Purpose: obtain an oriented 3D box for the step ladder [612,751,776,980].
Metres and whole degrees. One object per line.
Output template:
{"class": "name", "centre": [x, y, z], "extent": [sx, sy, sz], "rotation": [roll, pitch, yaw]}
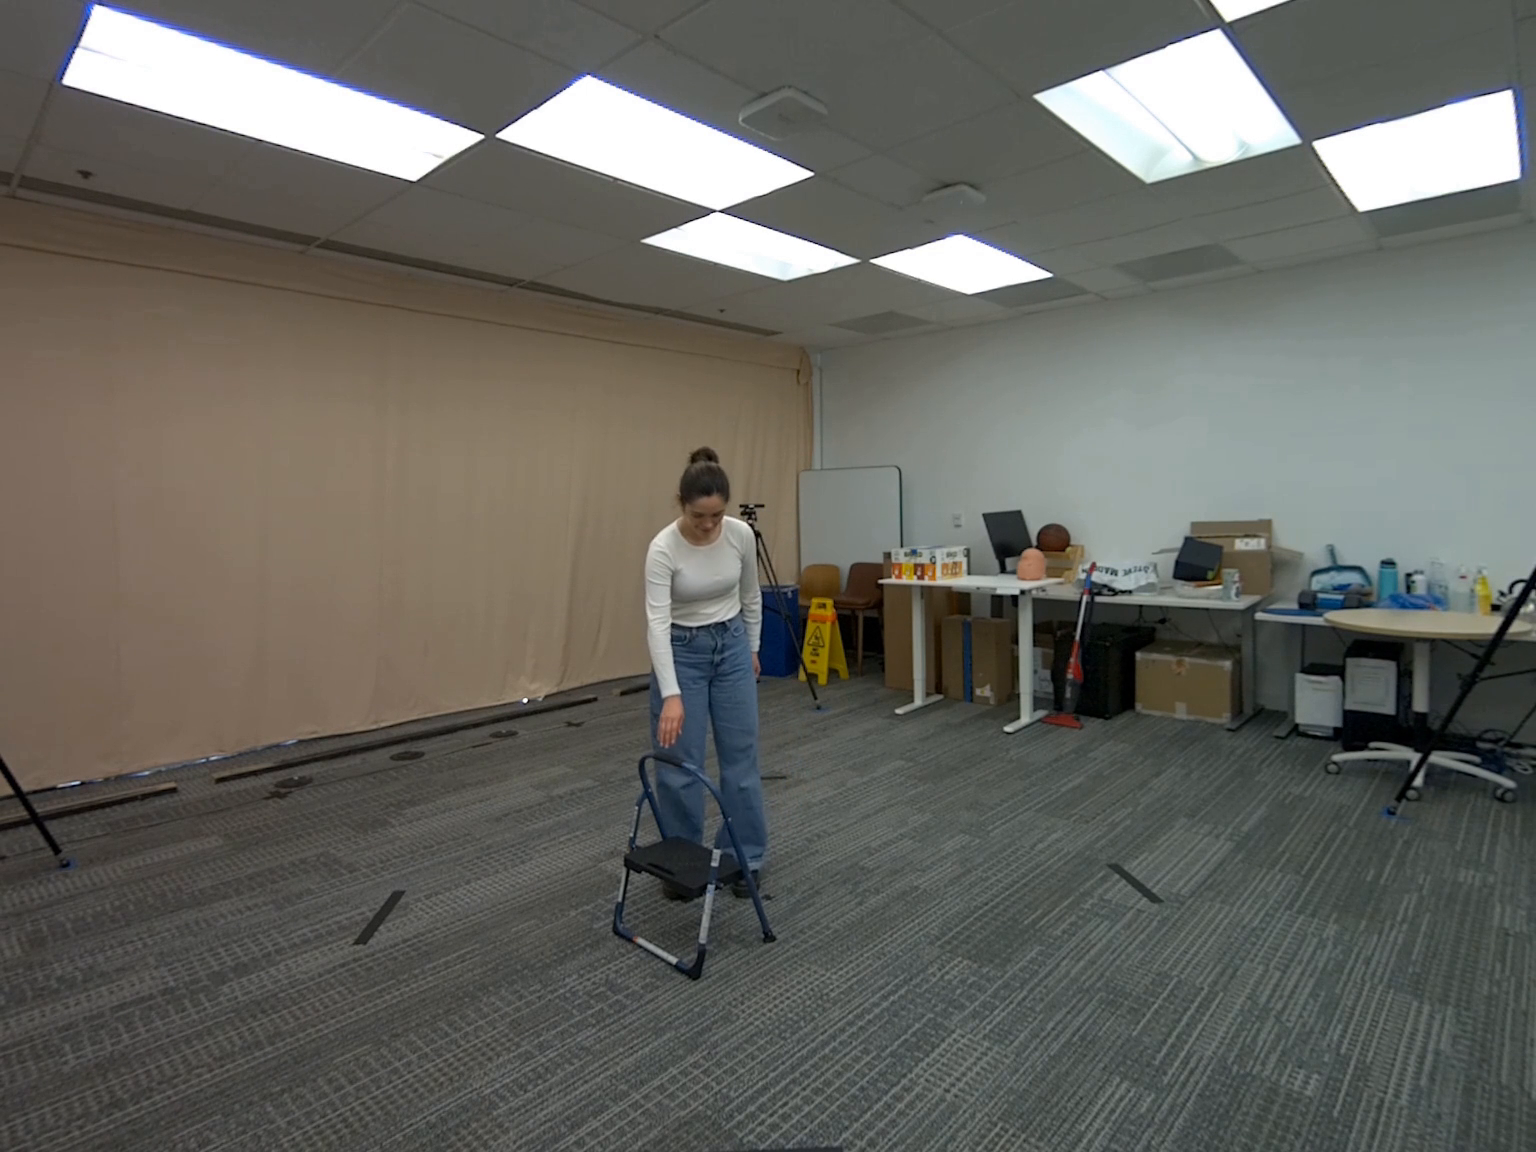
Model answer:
{"class": "step ladder", "centre": [-0.252, 0.860, 2.710], "extent": [0.445, 0.605, 0.339], "rotation": [3, 5, 44]}
